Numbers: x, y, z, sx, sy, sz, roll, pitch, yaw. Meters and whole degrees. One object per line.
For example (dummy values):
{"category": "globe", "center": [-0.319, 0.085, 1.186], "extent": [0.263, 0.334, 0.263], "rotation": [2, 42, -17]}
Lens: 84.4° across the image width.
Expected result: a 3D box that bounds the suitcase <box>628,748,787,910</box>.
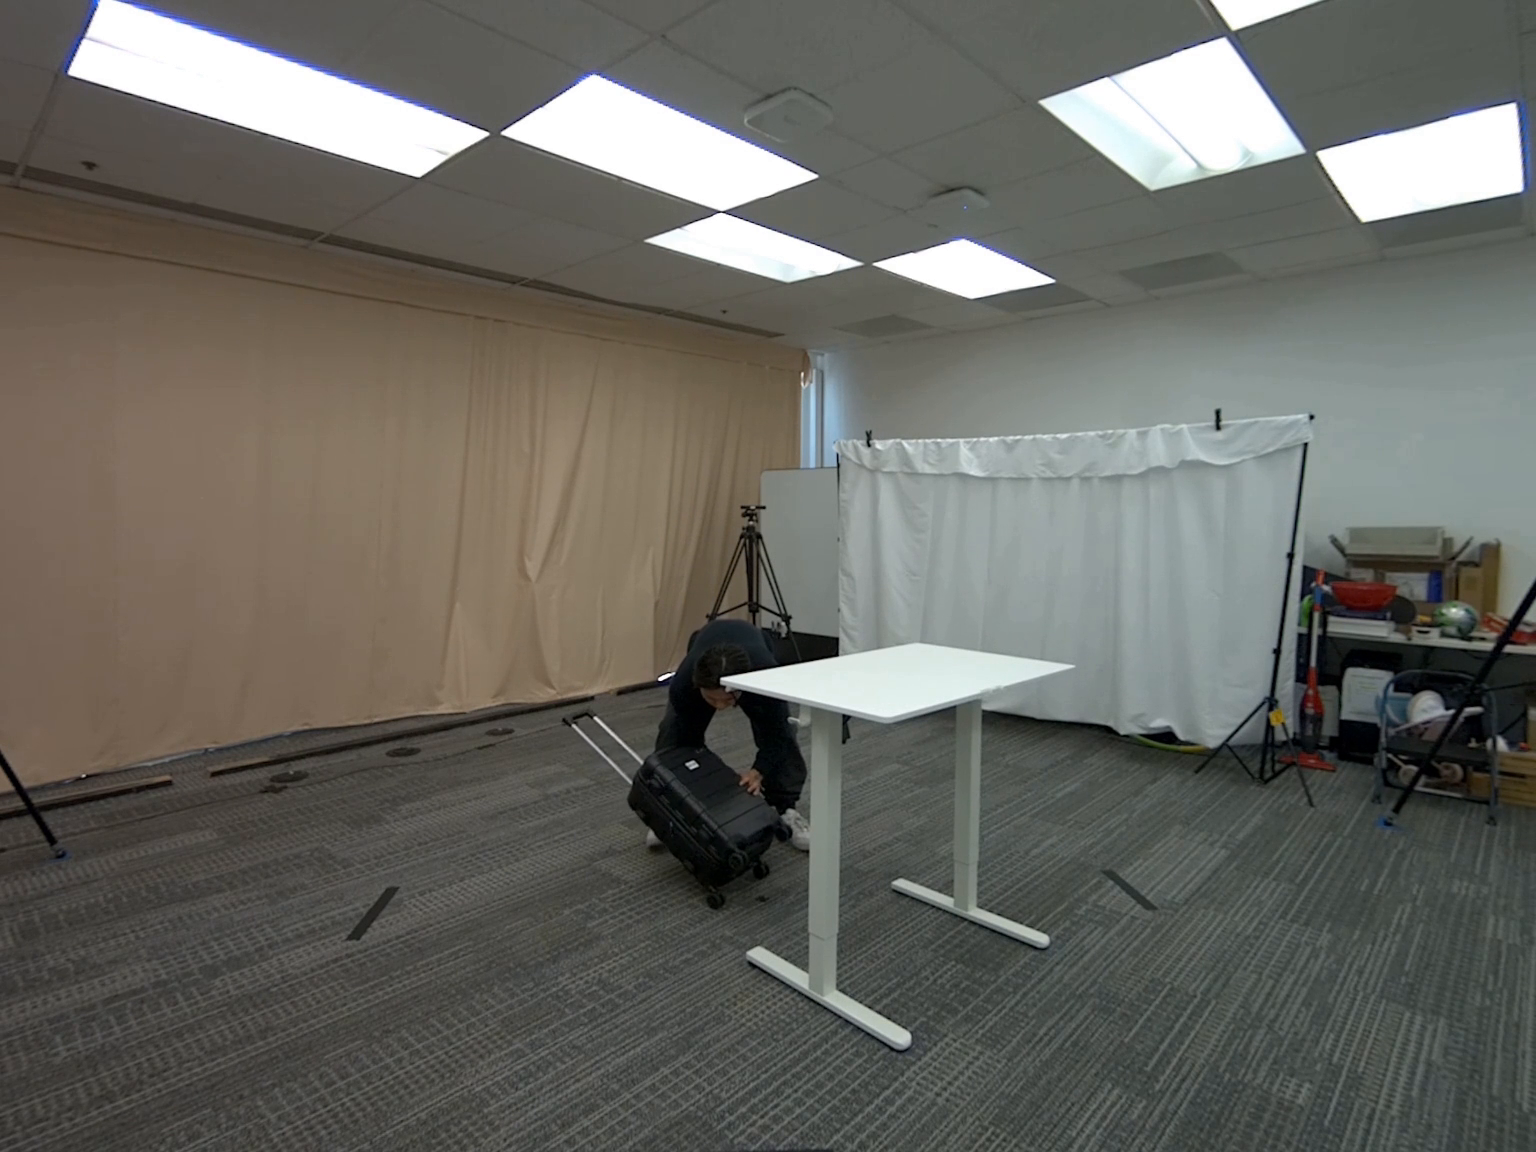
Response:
{"category": "suitcase", "center": [-0.373, 0.758, 3.211], "extent": [1.009, 0.256, 0.373], "rotation": [39, 25, 27]}
